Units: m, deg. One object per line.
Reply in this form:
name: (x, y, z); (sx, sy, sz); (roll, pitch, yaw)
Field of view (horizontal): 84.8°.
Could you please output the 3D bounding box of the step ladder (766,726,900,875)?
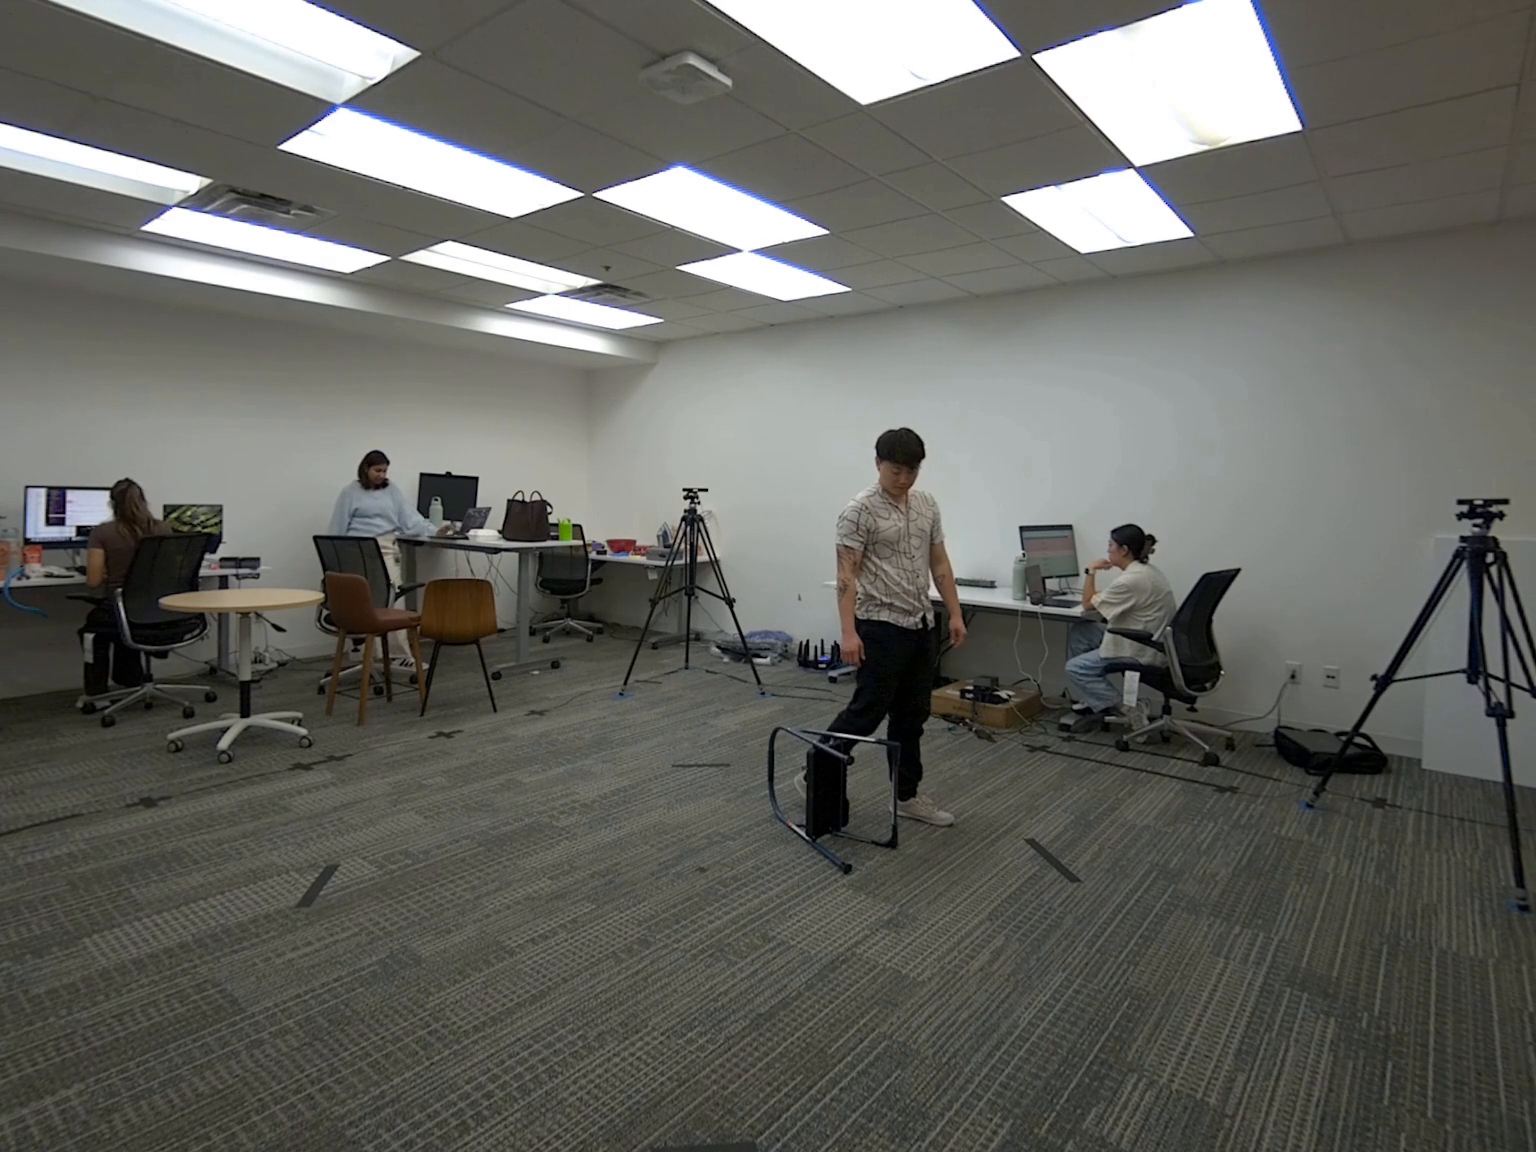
step ladder: (0.171, 0.837, 3.422); (0.627, 0.430, 0.338); (5, 4, 44)
